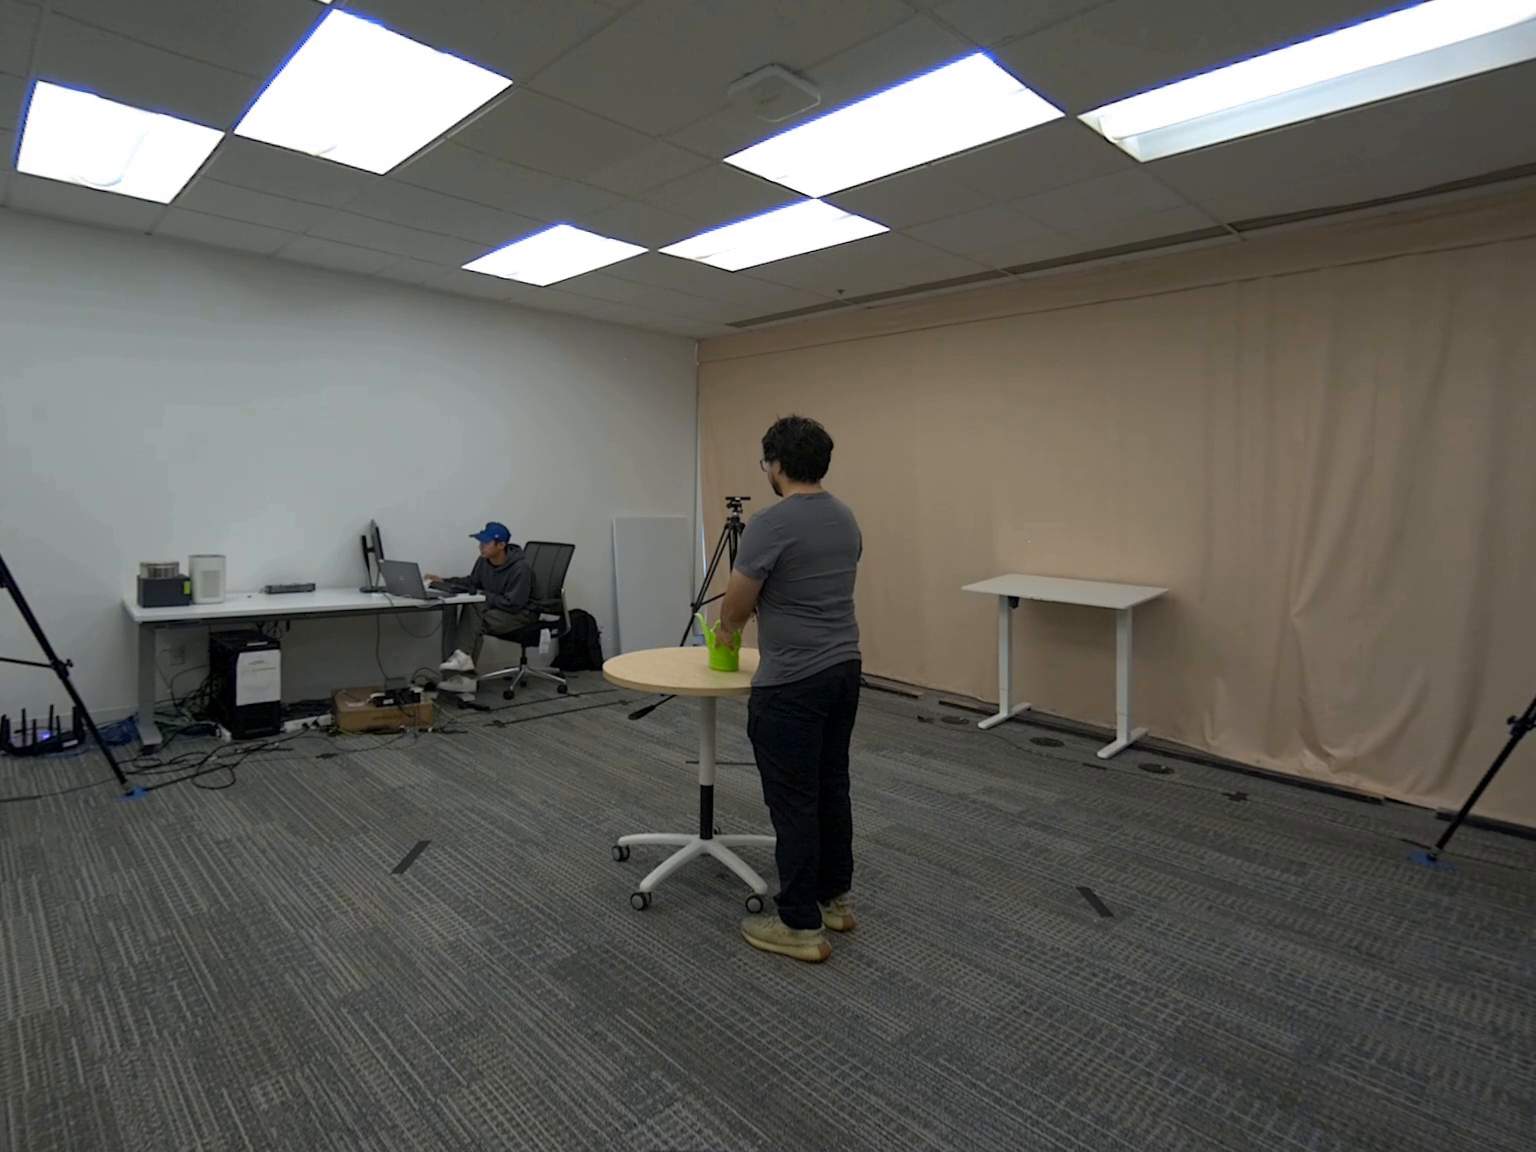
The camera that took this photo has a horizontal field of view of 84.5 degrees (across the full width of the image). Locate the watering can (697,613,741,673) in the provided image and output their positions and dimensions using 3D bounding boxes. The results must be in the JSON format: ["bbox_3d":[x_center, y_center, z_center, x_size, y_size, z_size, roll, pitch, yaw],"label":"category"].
[{"bbox_3d":[-0.186,0.242,3.045,0.096,0.176,0.284,0,6,-25],"label":"watering can"}]
